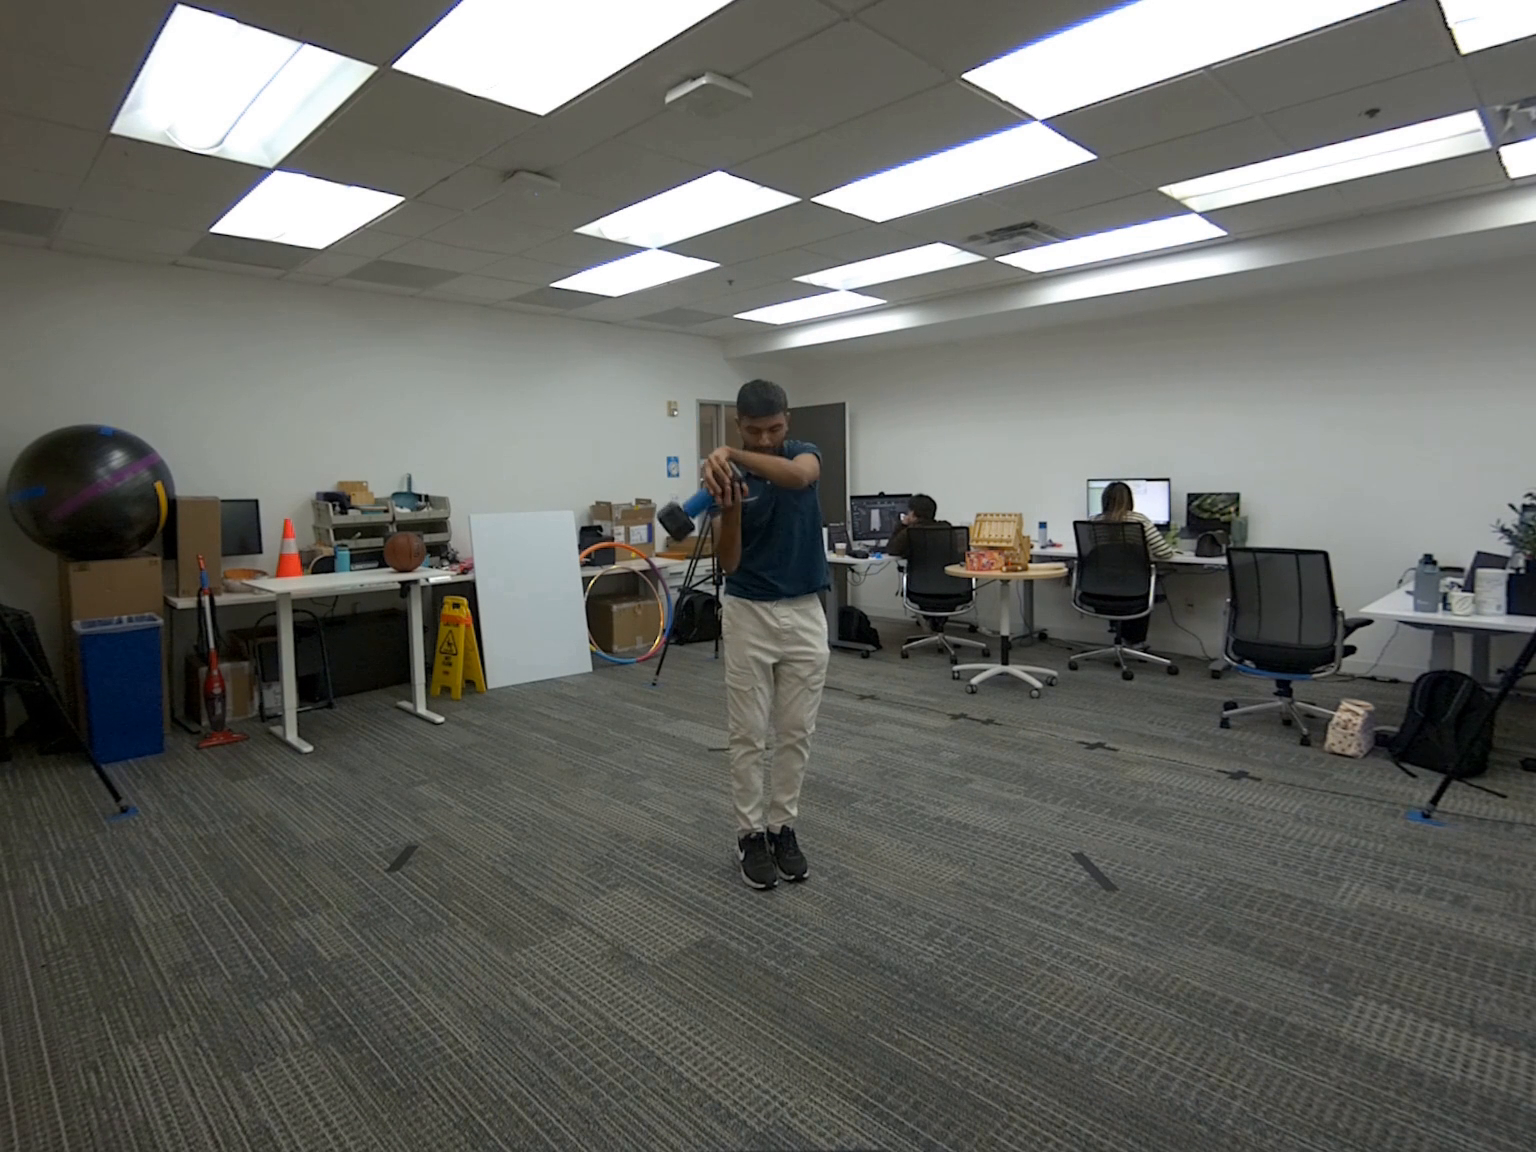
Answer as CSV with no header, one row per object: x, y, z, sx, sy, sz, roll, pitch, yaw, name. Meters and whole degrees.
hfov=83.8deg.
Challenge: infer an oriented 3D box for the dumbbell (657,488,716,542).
-0.191,-0.227,2.681,0.293,0.119,0.112,-36,33,-2,dumbbell
